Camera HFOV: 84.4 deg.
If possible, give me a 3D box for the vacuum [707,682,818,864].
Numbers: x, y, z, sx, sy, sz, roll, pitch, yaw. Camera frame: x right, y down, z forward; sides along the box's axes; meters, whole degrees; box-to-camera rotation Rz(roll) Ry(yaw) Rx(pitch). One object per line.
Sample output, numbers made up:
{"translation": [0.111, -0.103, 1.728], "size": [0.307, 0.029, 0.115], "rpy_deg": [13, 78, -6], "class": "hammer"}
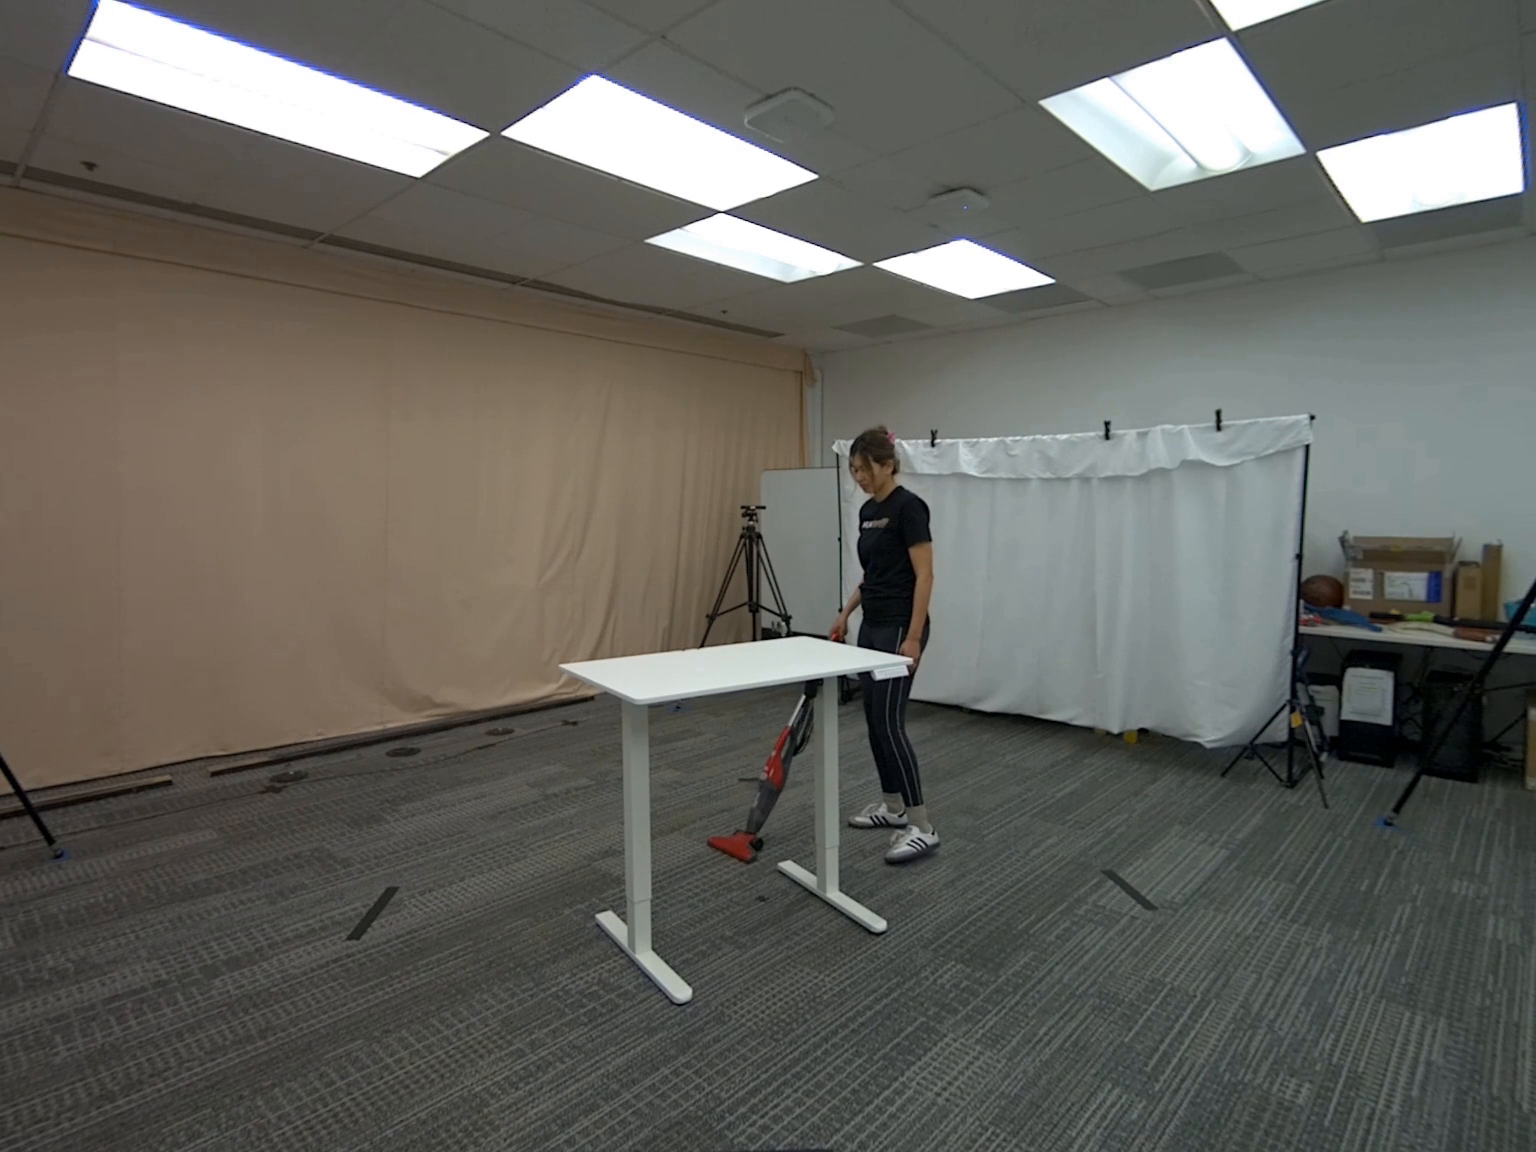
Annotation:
{"translation": [0.109, 0.682, 3.592], "size": [0.261, 1.049, 0.139], "rpy_deg": [7, -30, 43], "class": "vacuum"}
